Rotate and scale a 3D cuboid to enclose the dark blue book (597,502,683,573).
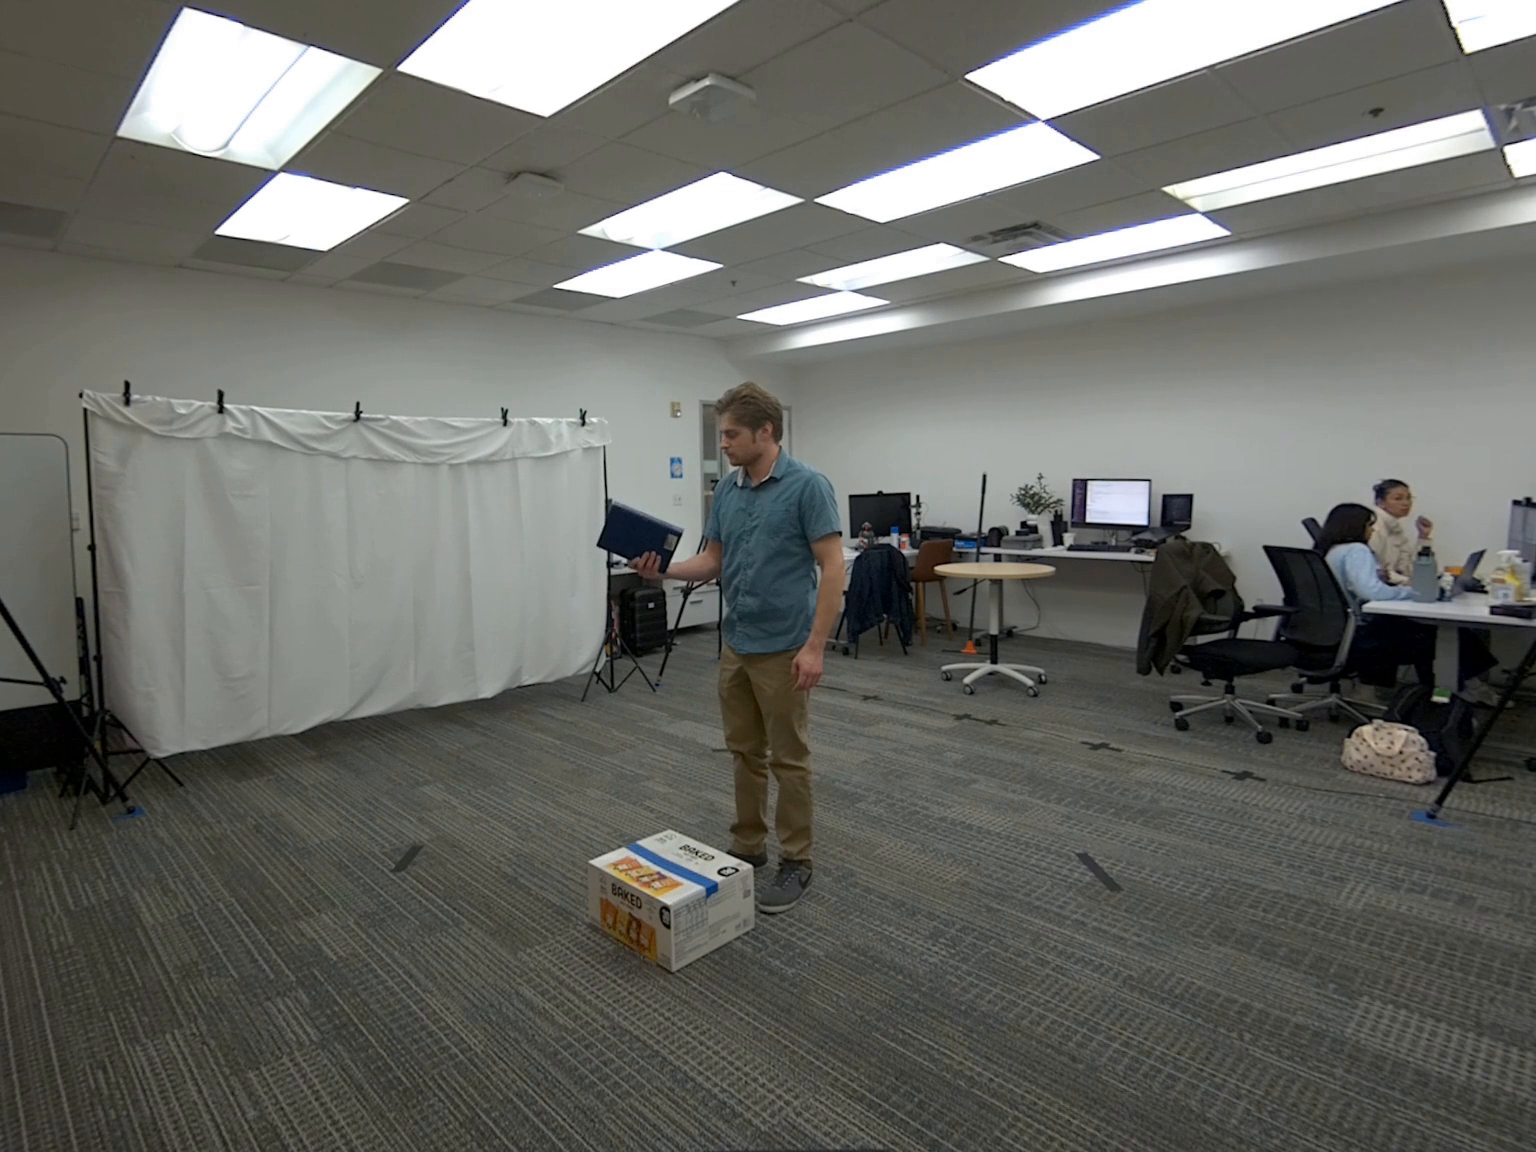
[{"bbox_3d":[-0.417,-0.127,2.772,0.245,0.162,0.045,22,23,0],"label":"dark blue book"}]
